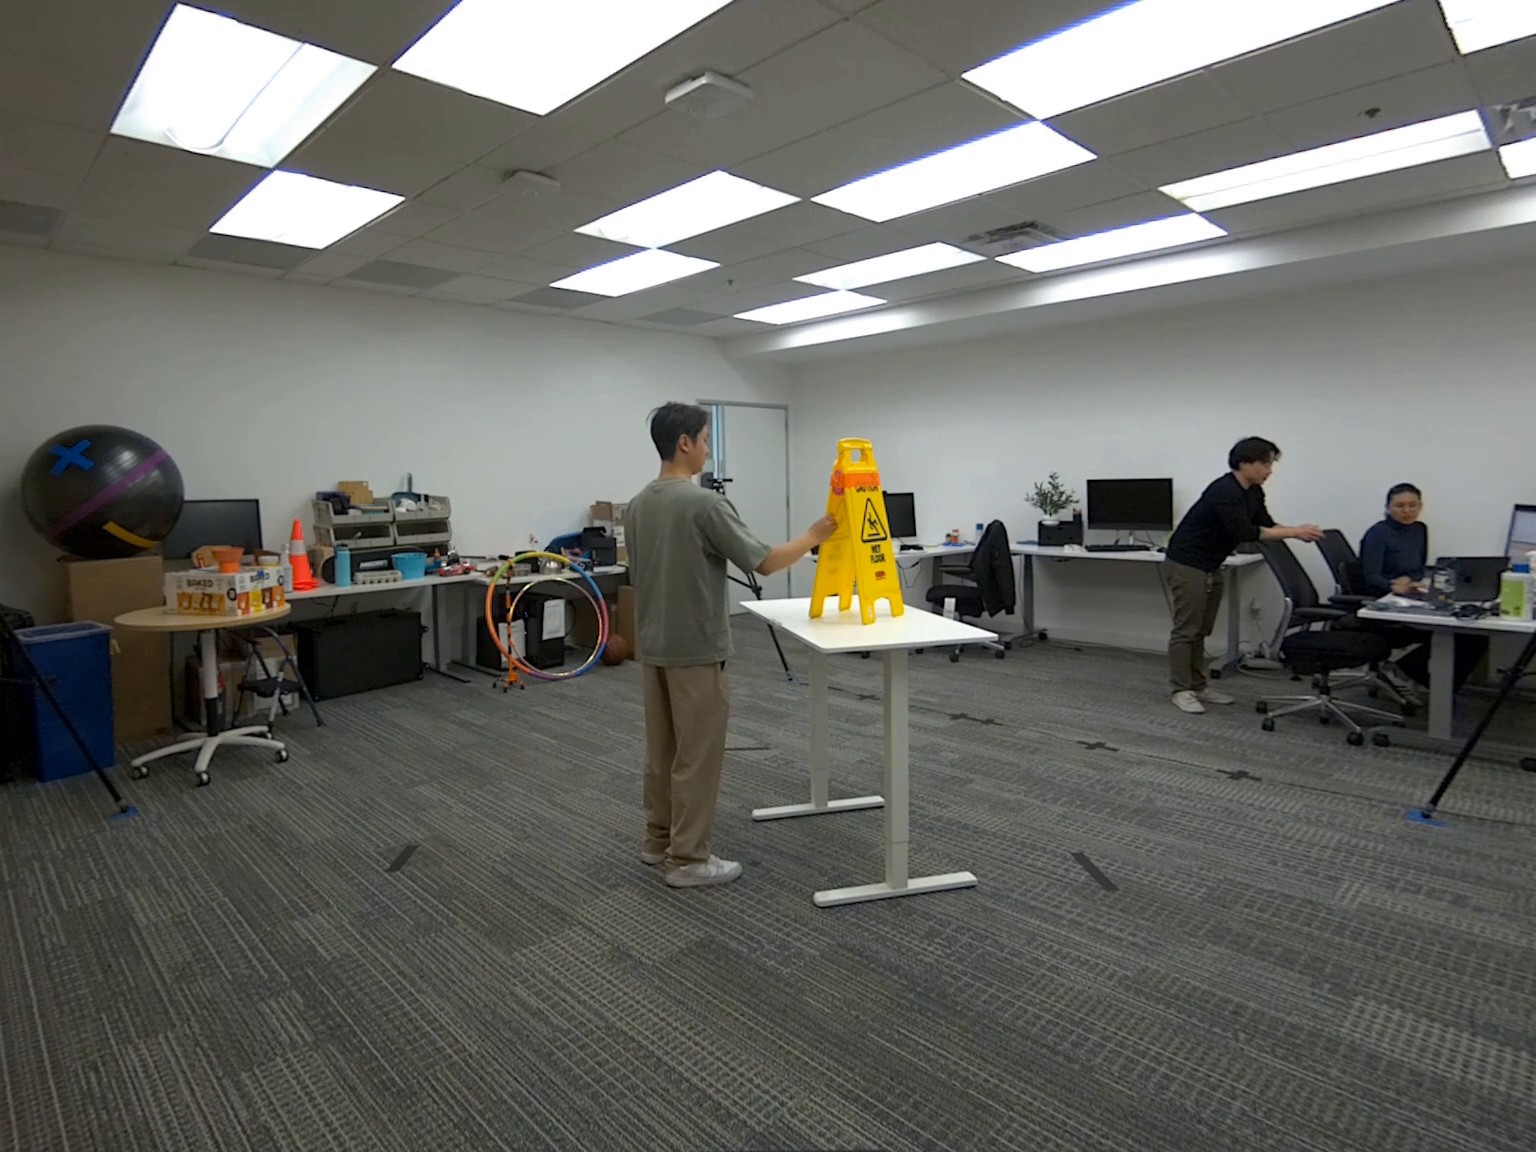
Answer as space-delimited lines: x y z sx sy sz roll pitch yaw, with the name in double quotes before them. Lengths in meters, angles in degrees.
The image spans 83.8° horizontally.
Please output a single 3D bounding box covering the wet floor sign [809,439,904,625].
"wet floor sign" 0.330 -0.174 3.132 0.298 0.643 0.275 2 6 37
